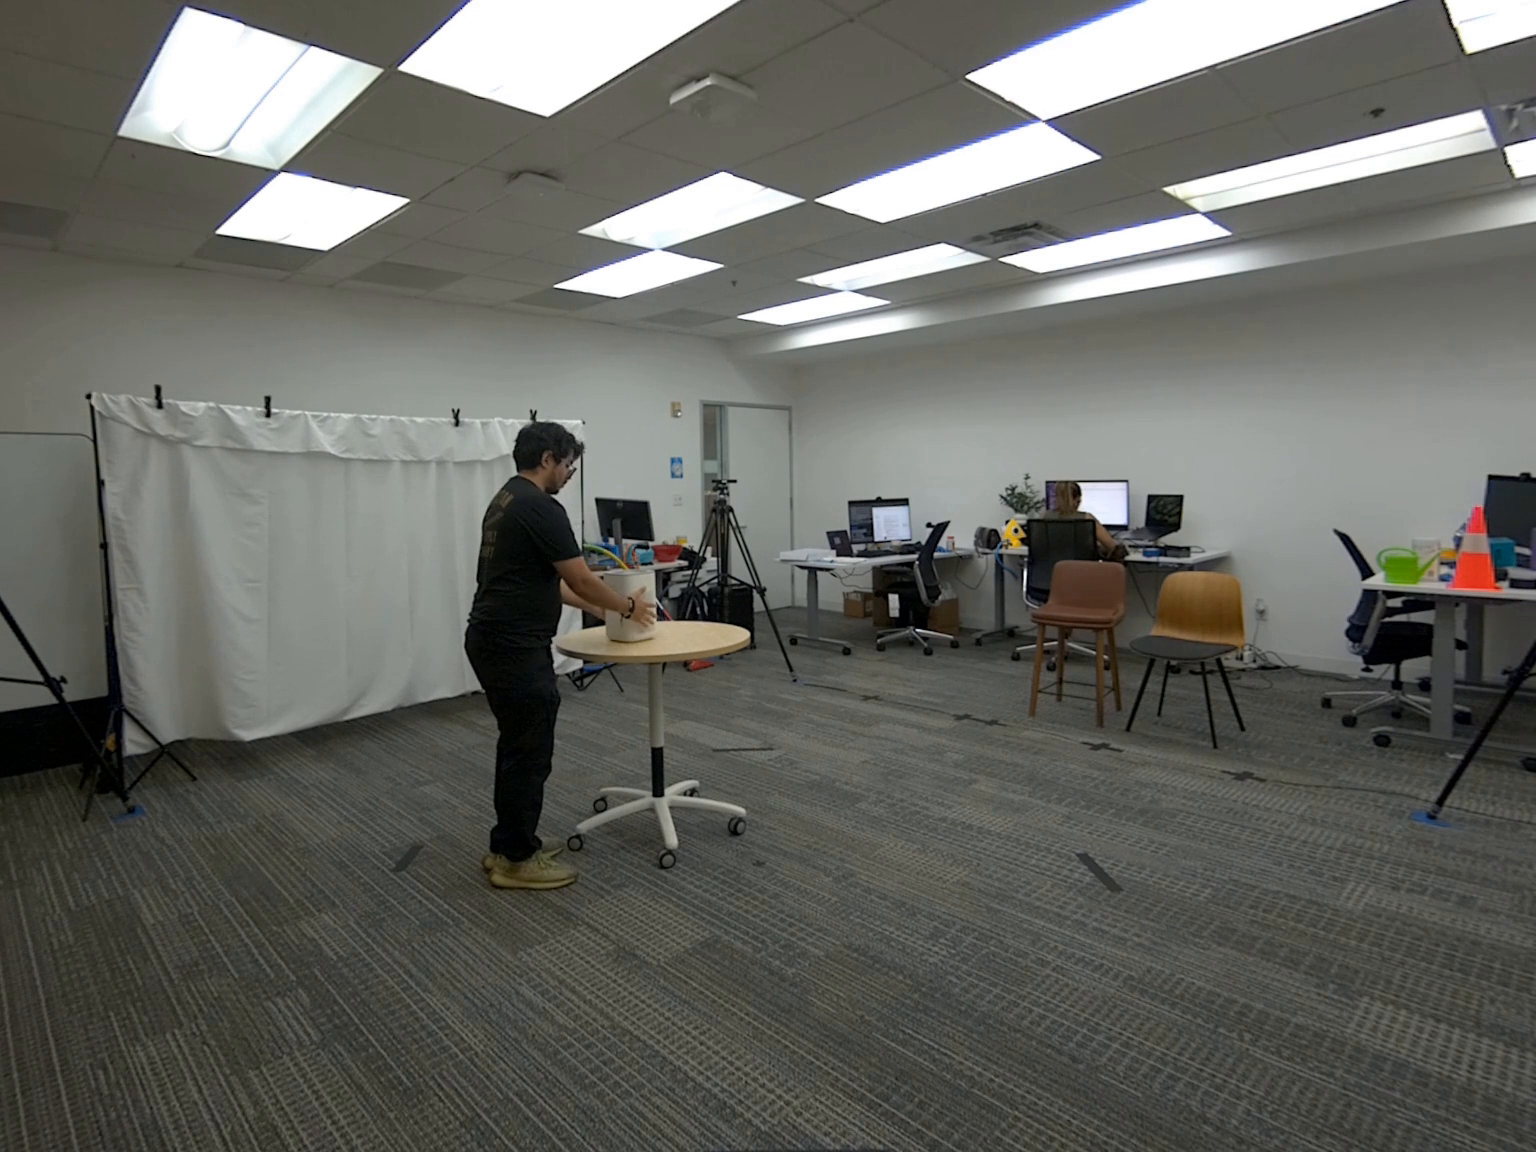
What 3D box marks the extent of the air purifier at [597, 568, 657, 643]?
[{"bbox_3d":[-0.534,0.114,3.345,0.173,0.262,0.169,-1,1,42],"label":"air purifier"}]
